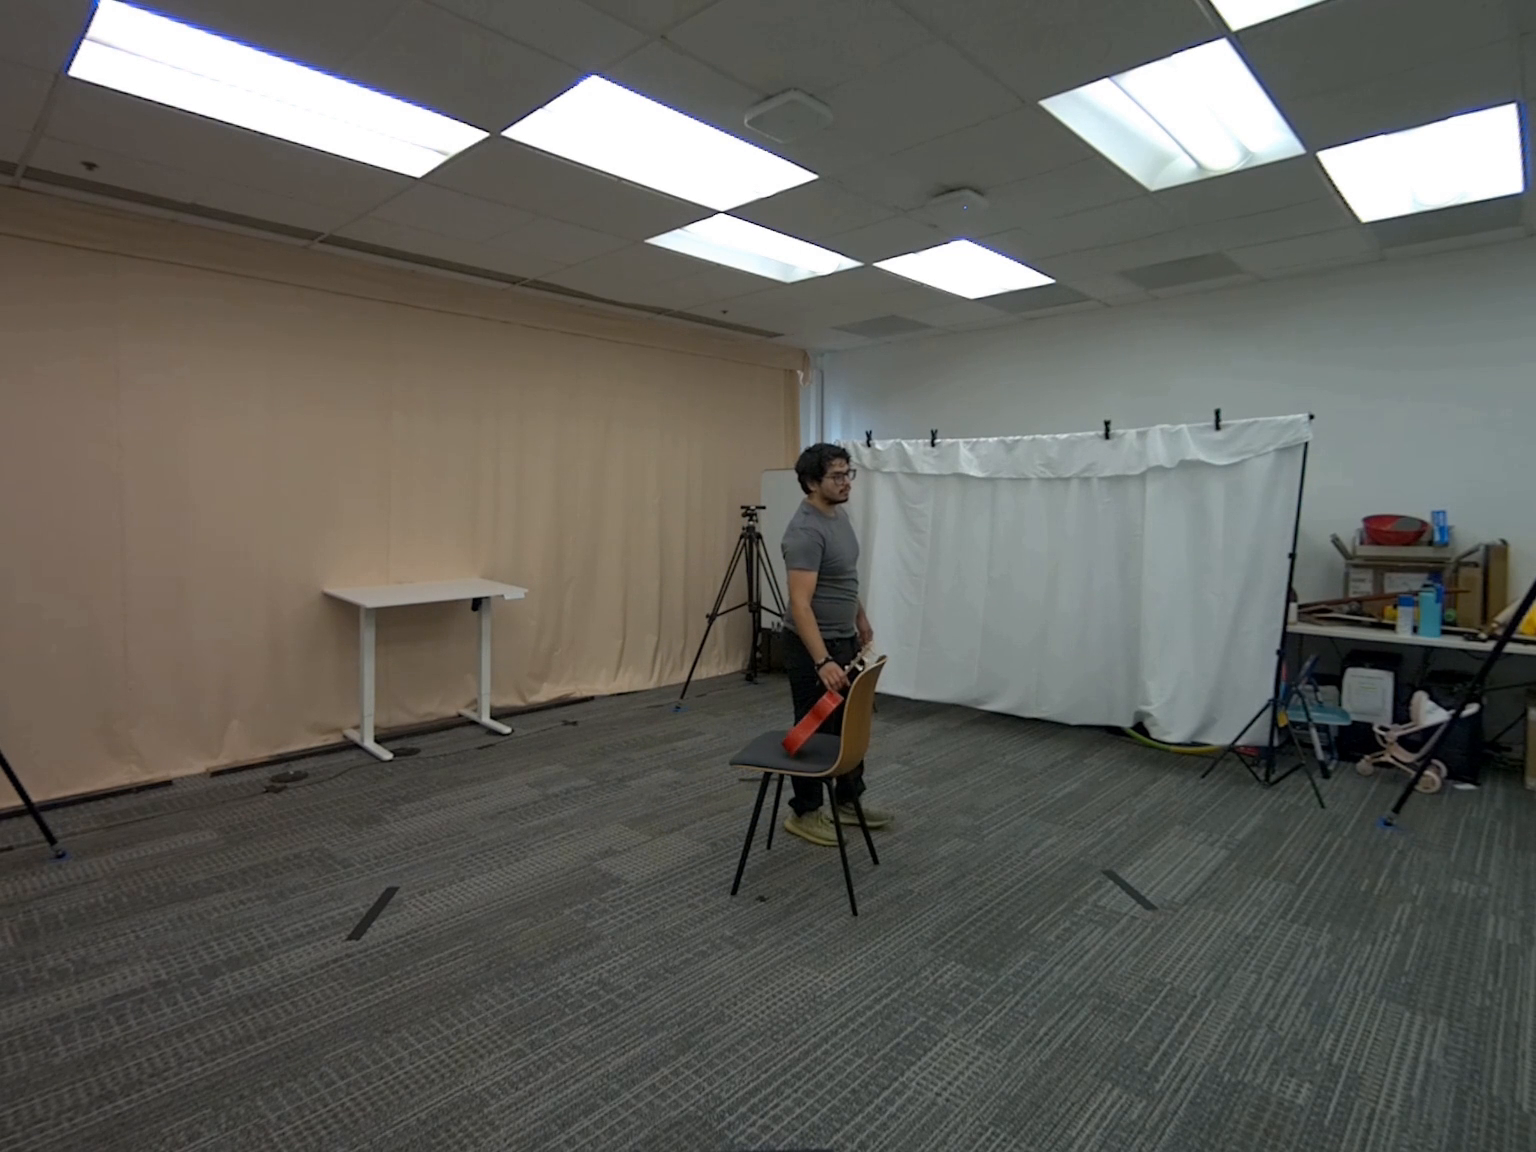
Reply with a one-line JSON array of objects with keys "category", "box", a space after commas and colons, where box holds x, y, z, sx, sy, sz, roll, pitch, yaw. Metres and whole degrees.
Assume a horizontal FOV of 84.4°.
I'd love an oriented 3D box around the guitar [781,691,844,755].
[{"category": "guitar", "box": [0.220, 0.443, 3.031, 0.072, 0.499, 0.189, 43, 16, 11]}]
